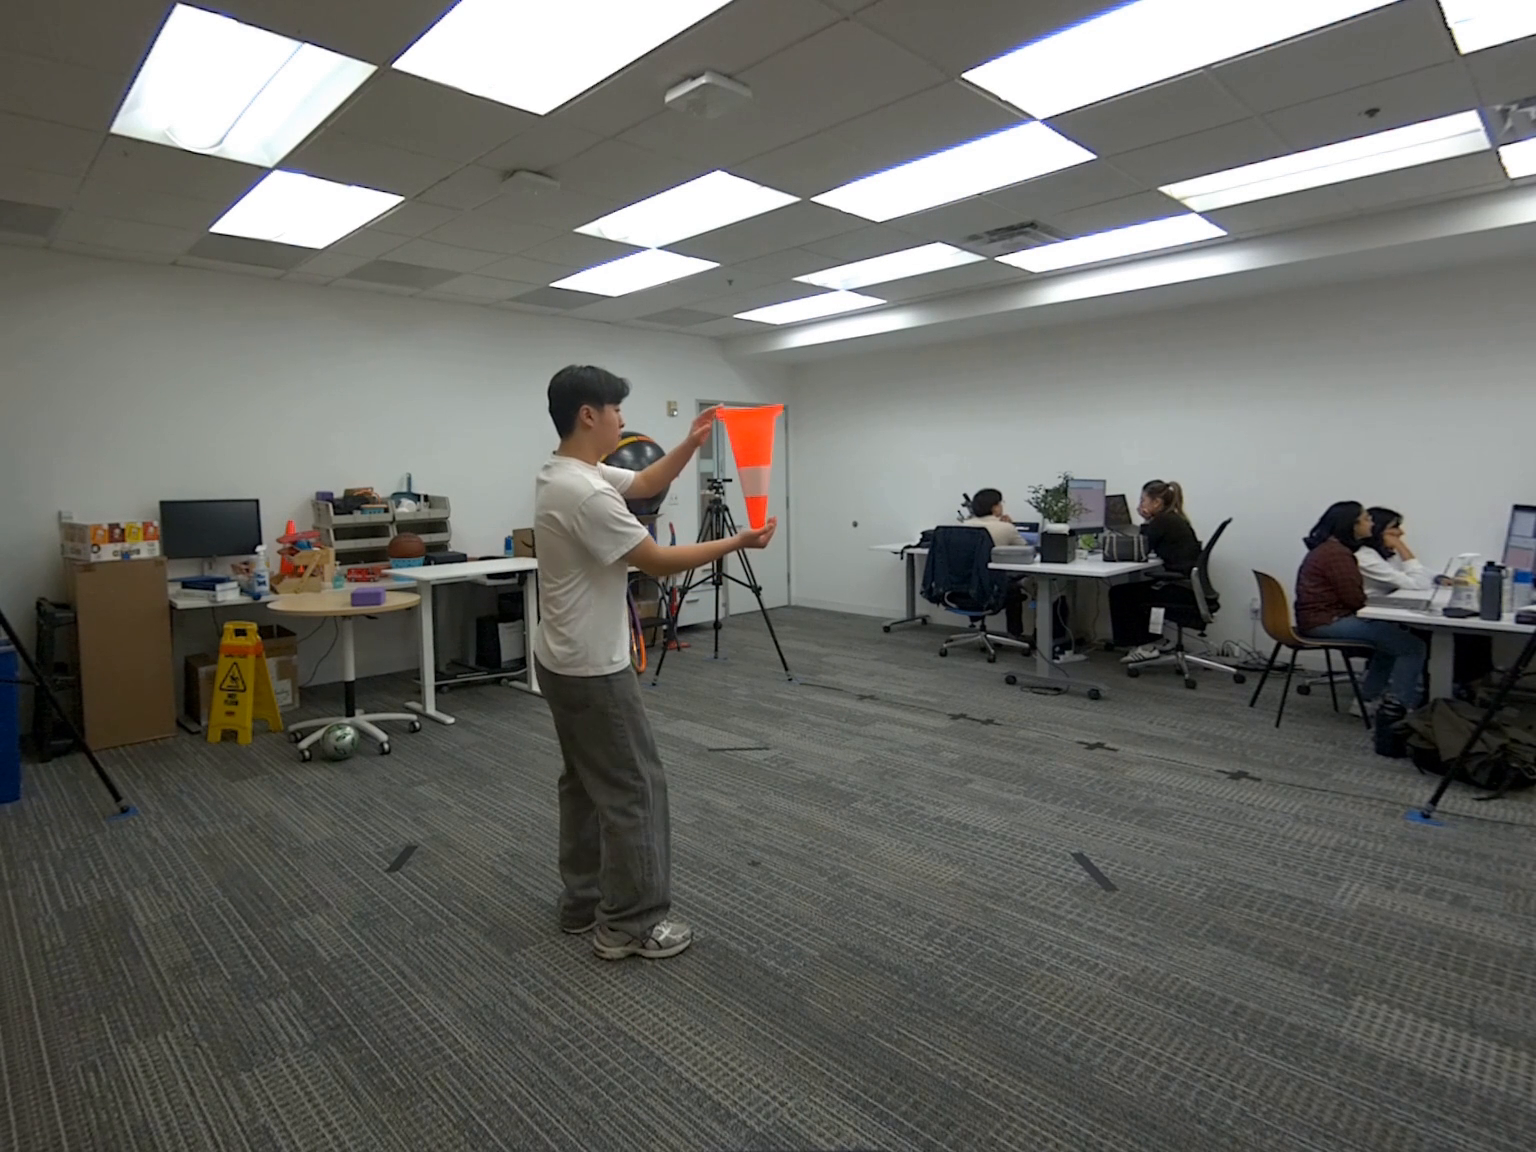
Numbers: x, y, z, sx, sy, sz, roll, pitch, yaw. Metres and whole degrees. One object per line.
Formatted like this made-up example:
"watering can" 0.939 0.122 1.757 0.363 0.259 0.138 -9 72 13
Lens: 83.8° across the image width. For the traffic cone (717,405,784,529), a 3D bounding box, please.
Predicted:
"traffic cone" -0.042 -0.300 2.594 0.208 0.383 0.201 -6 3 15
